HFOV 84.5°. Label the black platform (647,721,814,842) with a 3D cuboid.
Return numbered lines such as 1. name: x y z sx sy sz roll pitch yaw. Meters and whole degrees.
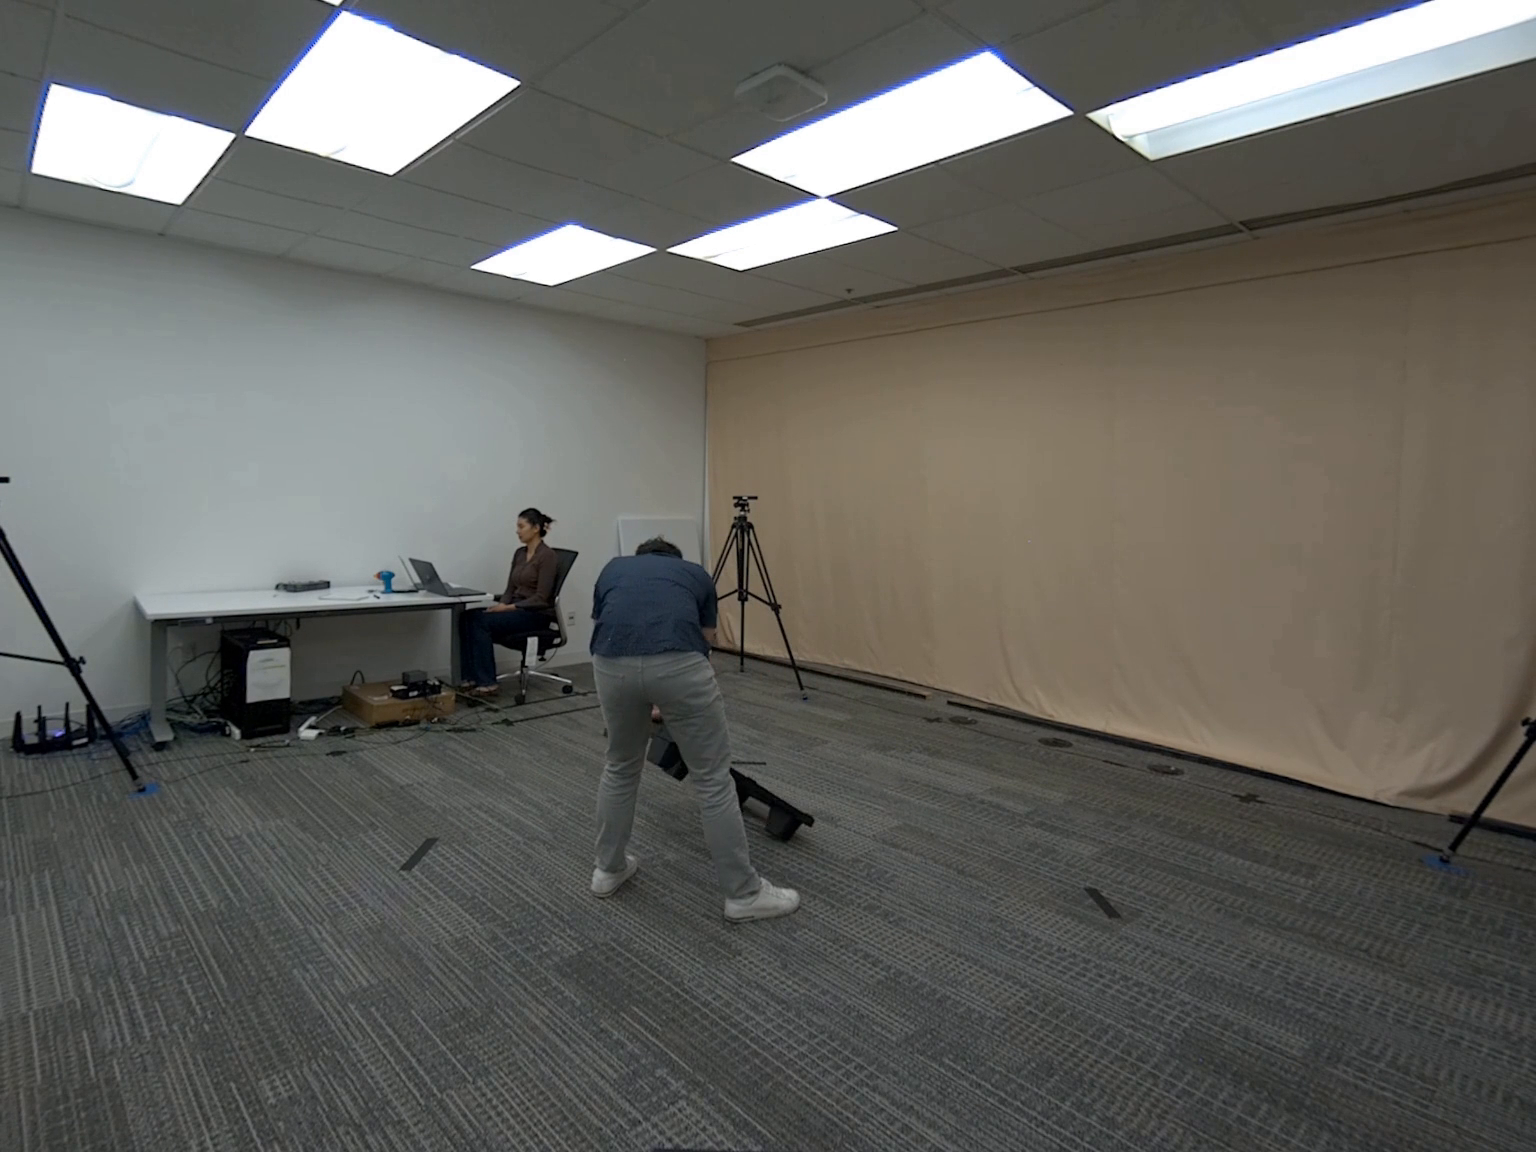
1. black platform: -0.281 0.809 3.448 0.783 0.144 0.620 40 -19 -30
